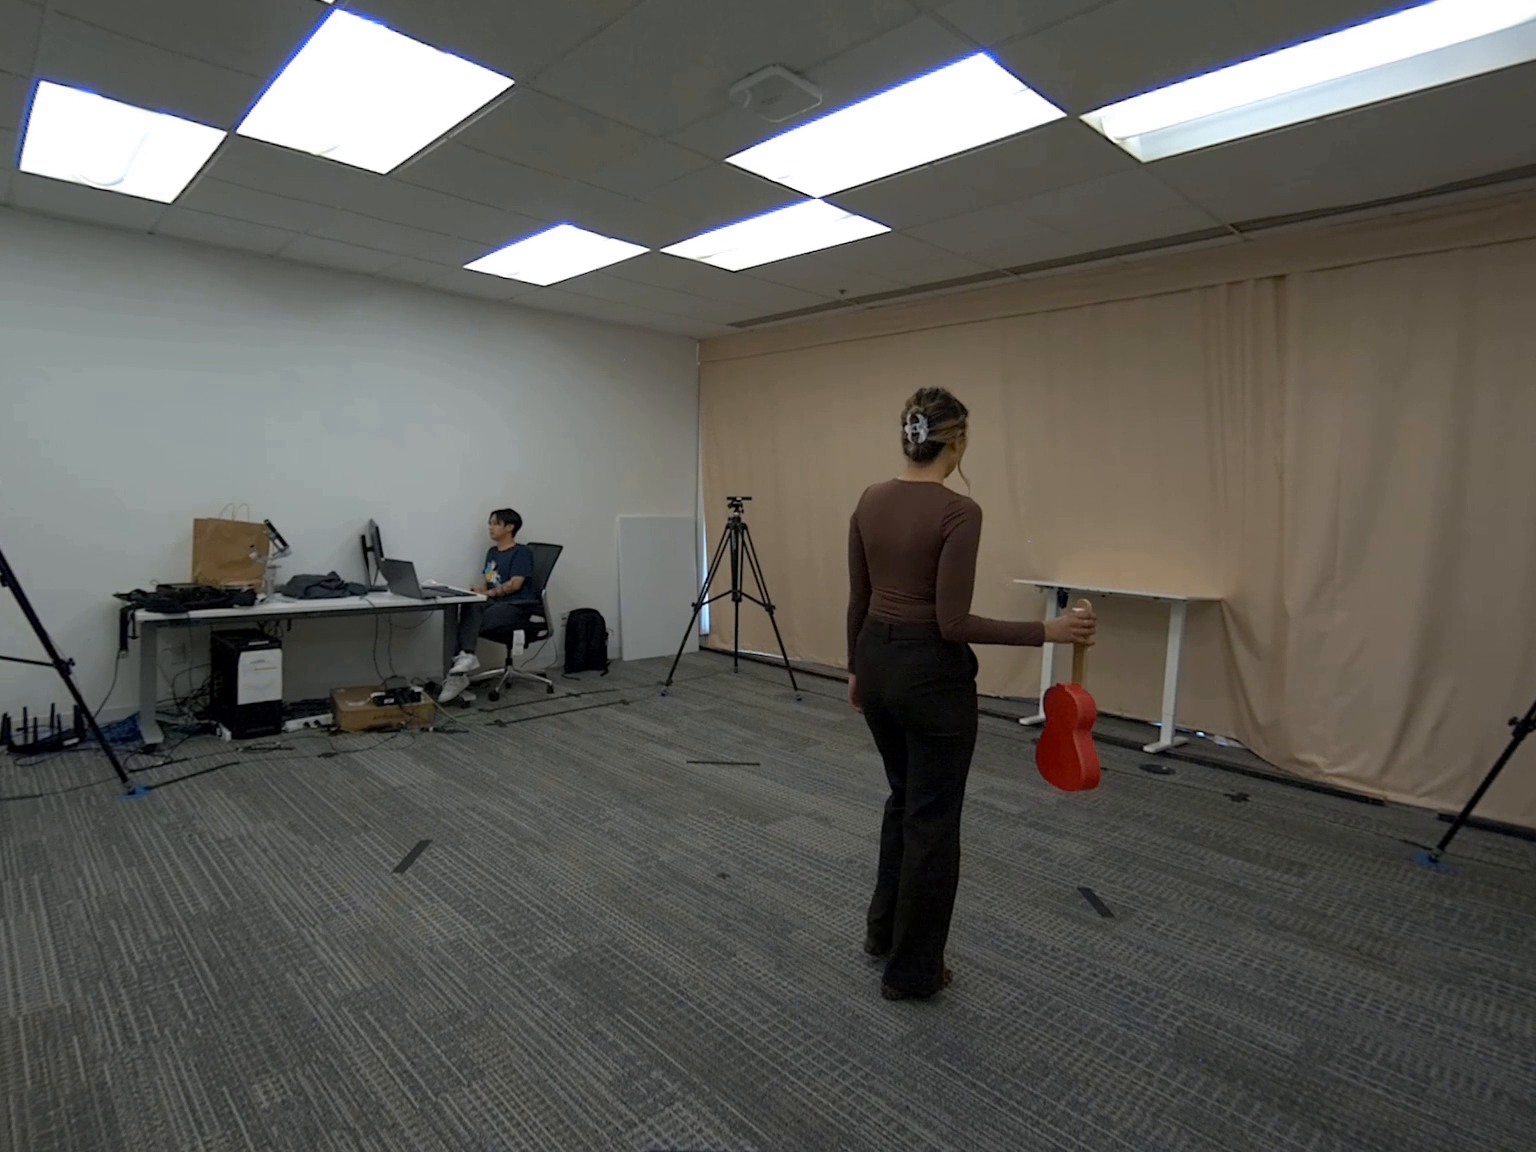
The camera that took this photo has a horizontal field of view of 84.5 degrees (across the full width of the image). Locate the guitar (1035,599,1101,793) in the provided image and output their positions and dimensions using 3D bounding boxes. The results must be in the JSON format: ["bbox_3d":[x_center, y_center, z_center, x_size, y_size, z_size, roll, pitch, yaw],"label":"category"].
[{"bbox_3d":[0.781,0.311,2.272,0.070,0.500,0.194,1,-7,-17],"label":"guitar"}]
